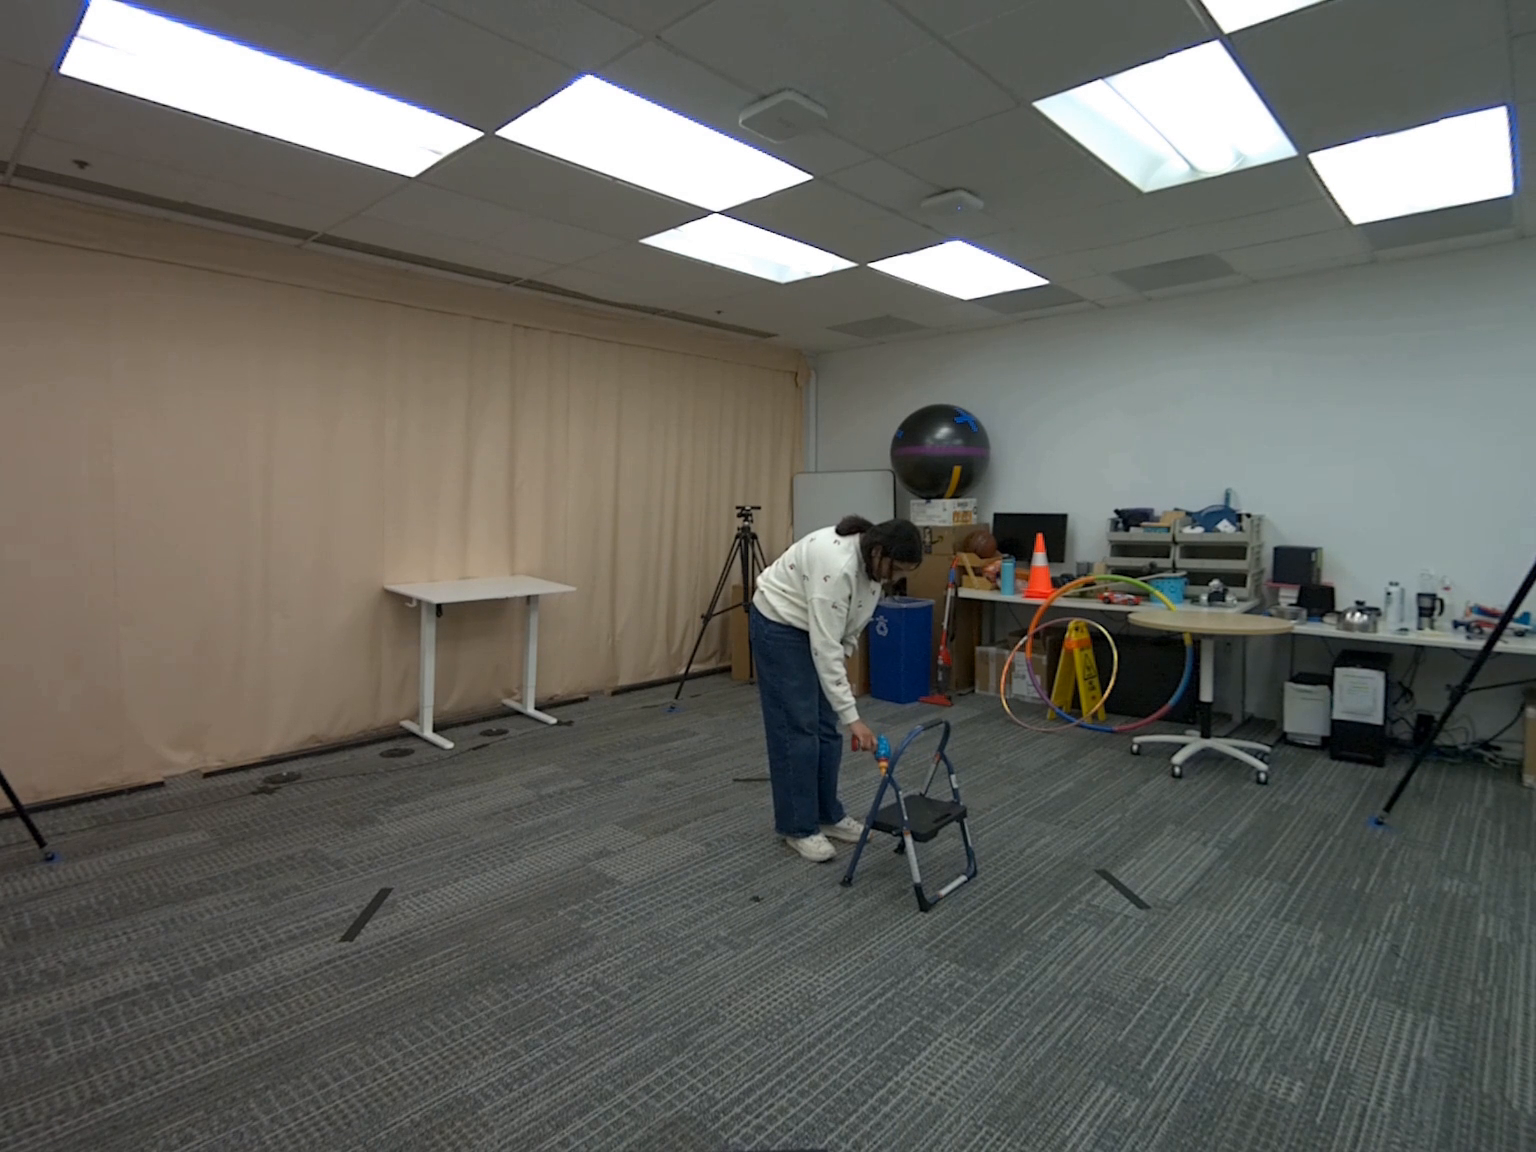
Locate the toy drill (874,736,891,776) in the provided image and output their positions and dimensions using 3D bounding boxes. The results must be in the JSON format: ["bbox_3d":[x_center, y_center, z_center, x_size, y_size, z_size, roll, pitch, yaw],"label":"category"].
[{"bbox_3d":[0.398,0.661,3.114,0.144,0.173,0.061,11,-43,-10],"label":"toy drill"}]
